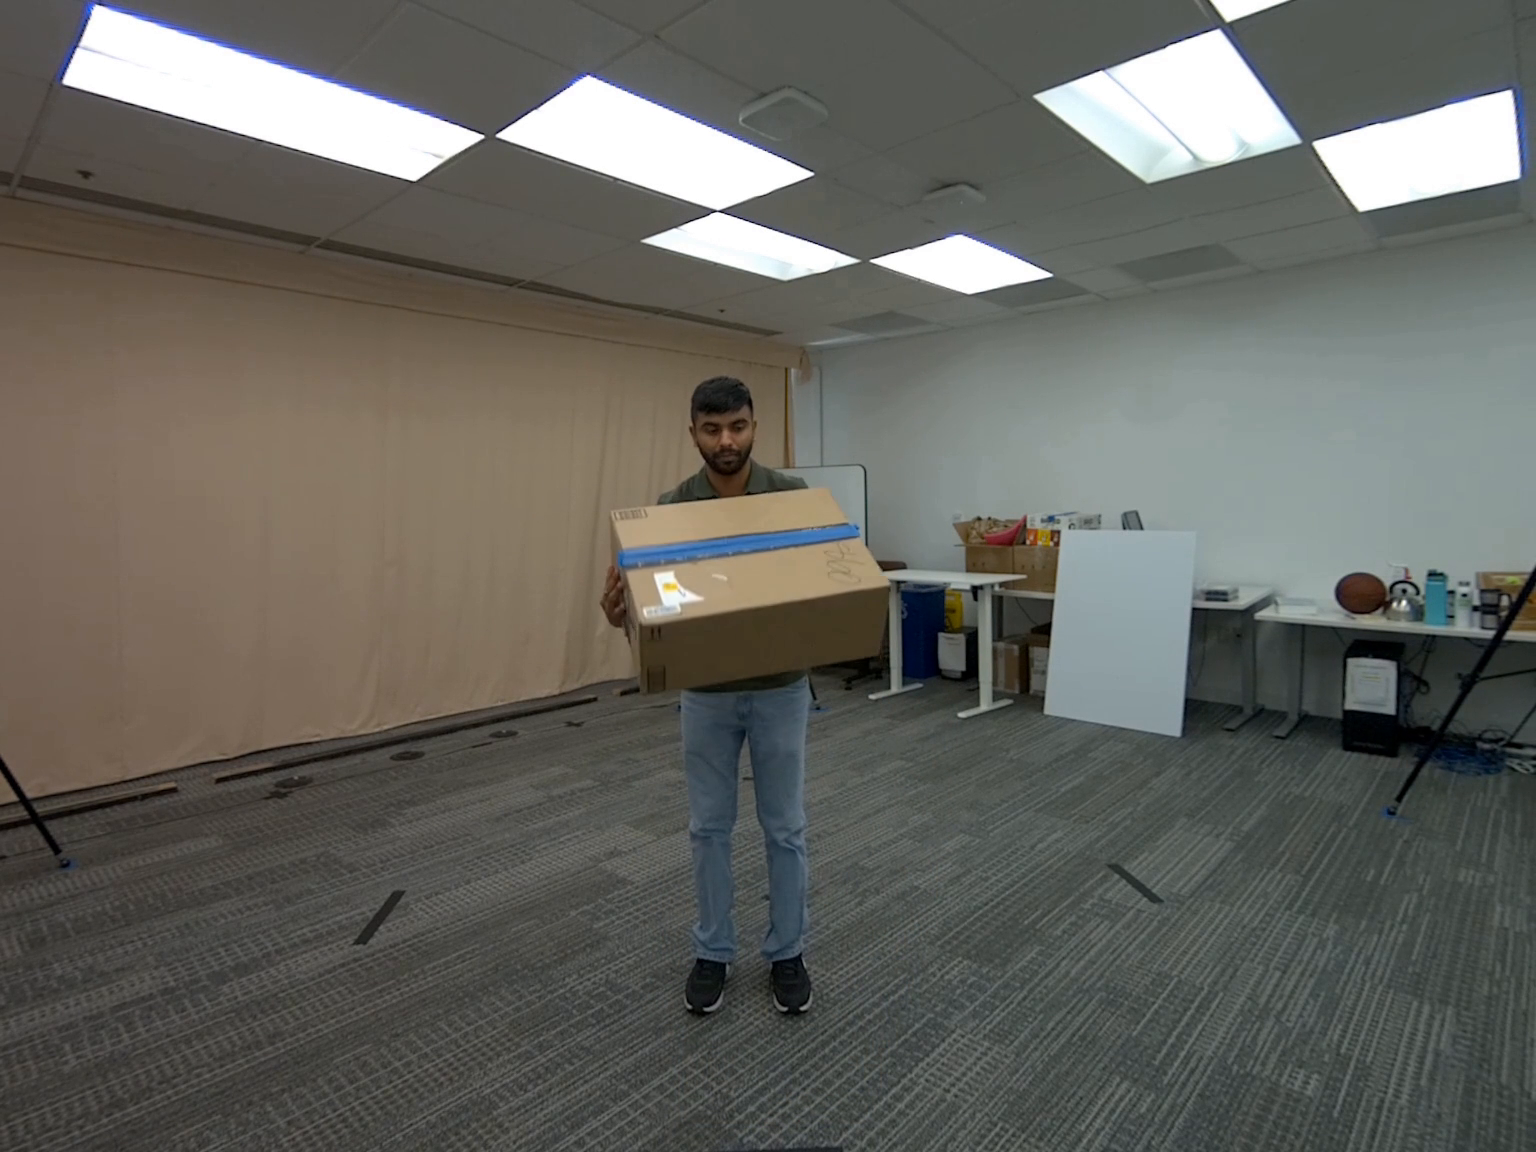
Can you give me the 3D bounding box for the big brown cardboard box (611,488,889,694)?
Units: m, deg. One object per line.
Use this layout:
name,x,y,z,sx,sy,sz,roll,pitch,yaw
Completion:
big brown cardboard box,-0.065,0.024,1.998,0.580,0.230,0.430,-6,38,-16
